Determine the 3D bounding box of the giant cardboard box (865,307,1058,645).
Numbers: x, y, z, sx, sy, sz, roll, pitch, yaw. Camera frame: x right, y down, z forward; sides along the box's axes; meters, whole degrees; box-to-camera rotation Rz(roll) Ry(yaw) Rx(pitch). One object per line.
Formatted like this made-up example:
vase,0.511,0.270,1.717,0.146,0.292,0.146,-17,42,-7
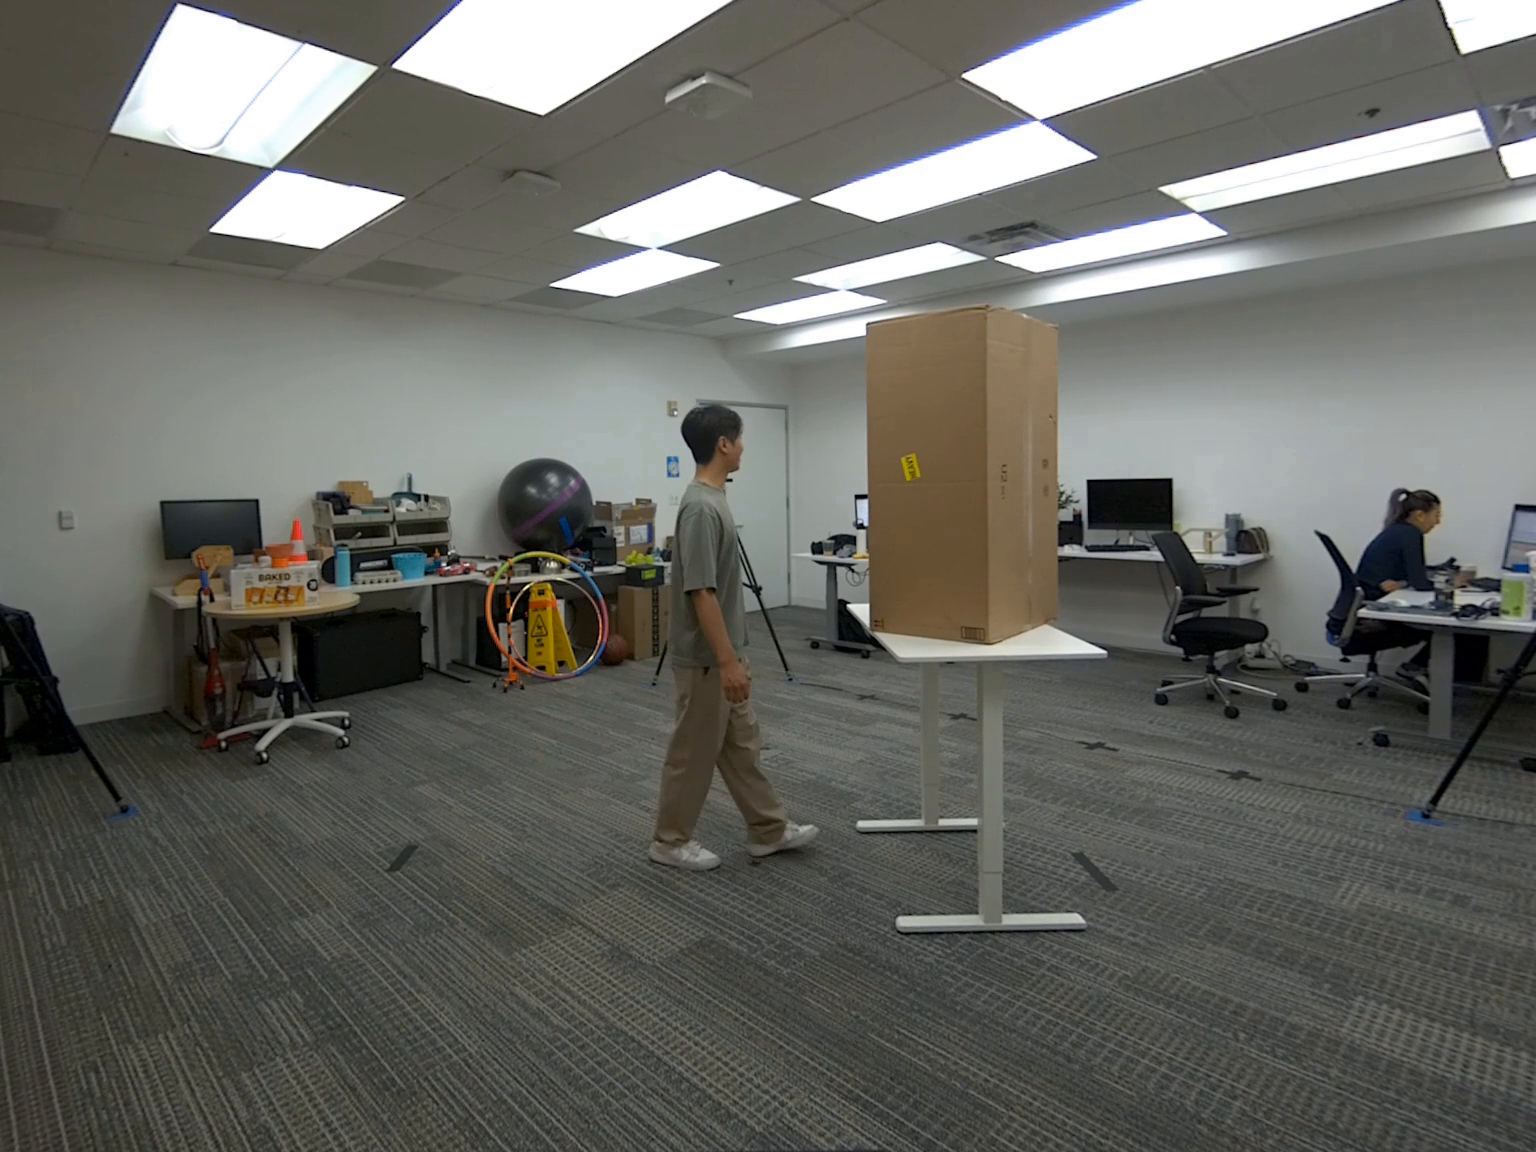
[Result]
giant cardboard box,0.672,-0.339,2.904,0.439,1.022,0.563,2,5,40
